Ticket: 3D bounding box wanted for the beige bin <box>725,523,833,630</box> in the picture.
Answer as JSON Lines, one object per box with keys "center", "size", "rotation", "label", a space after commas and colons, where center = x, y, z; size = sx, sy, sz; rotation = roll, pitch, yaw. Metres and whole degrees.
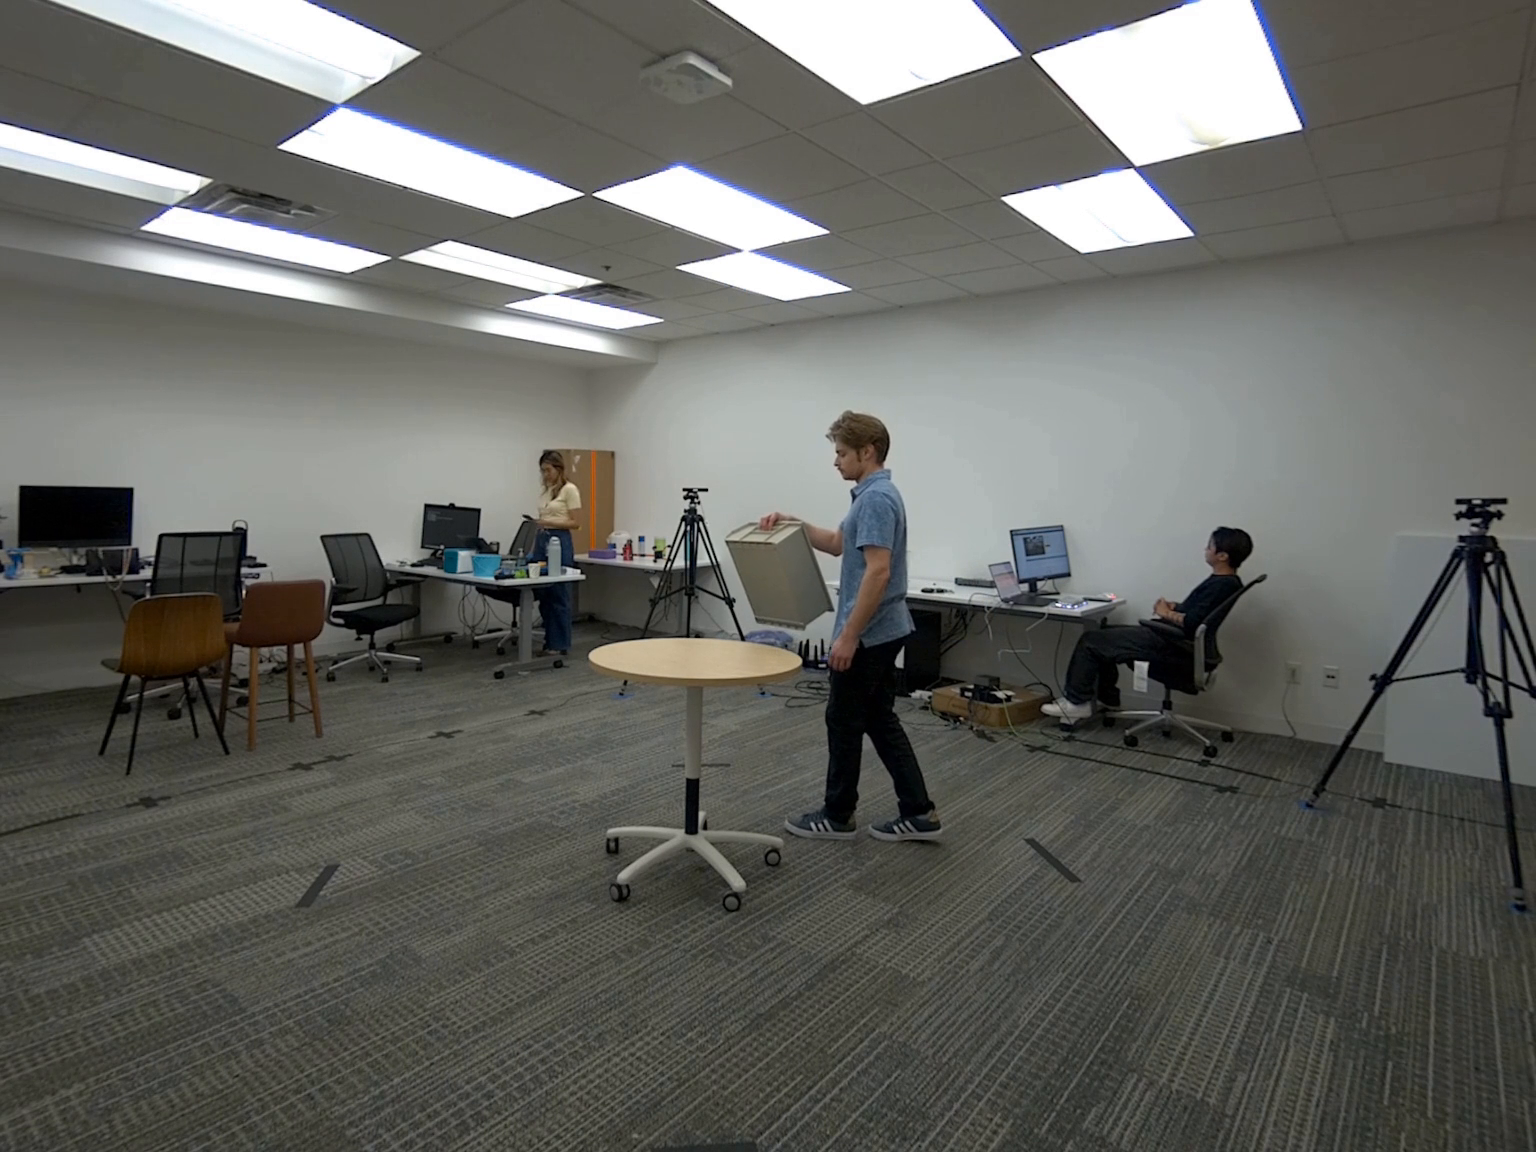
{"center": [0.020, -0.009, 3.651], "size": [0.187, 0.414, 0.390], "rotation": [-30, 20, -32], "label": "beige bin"}
